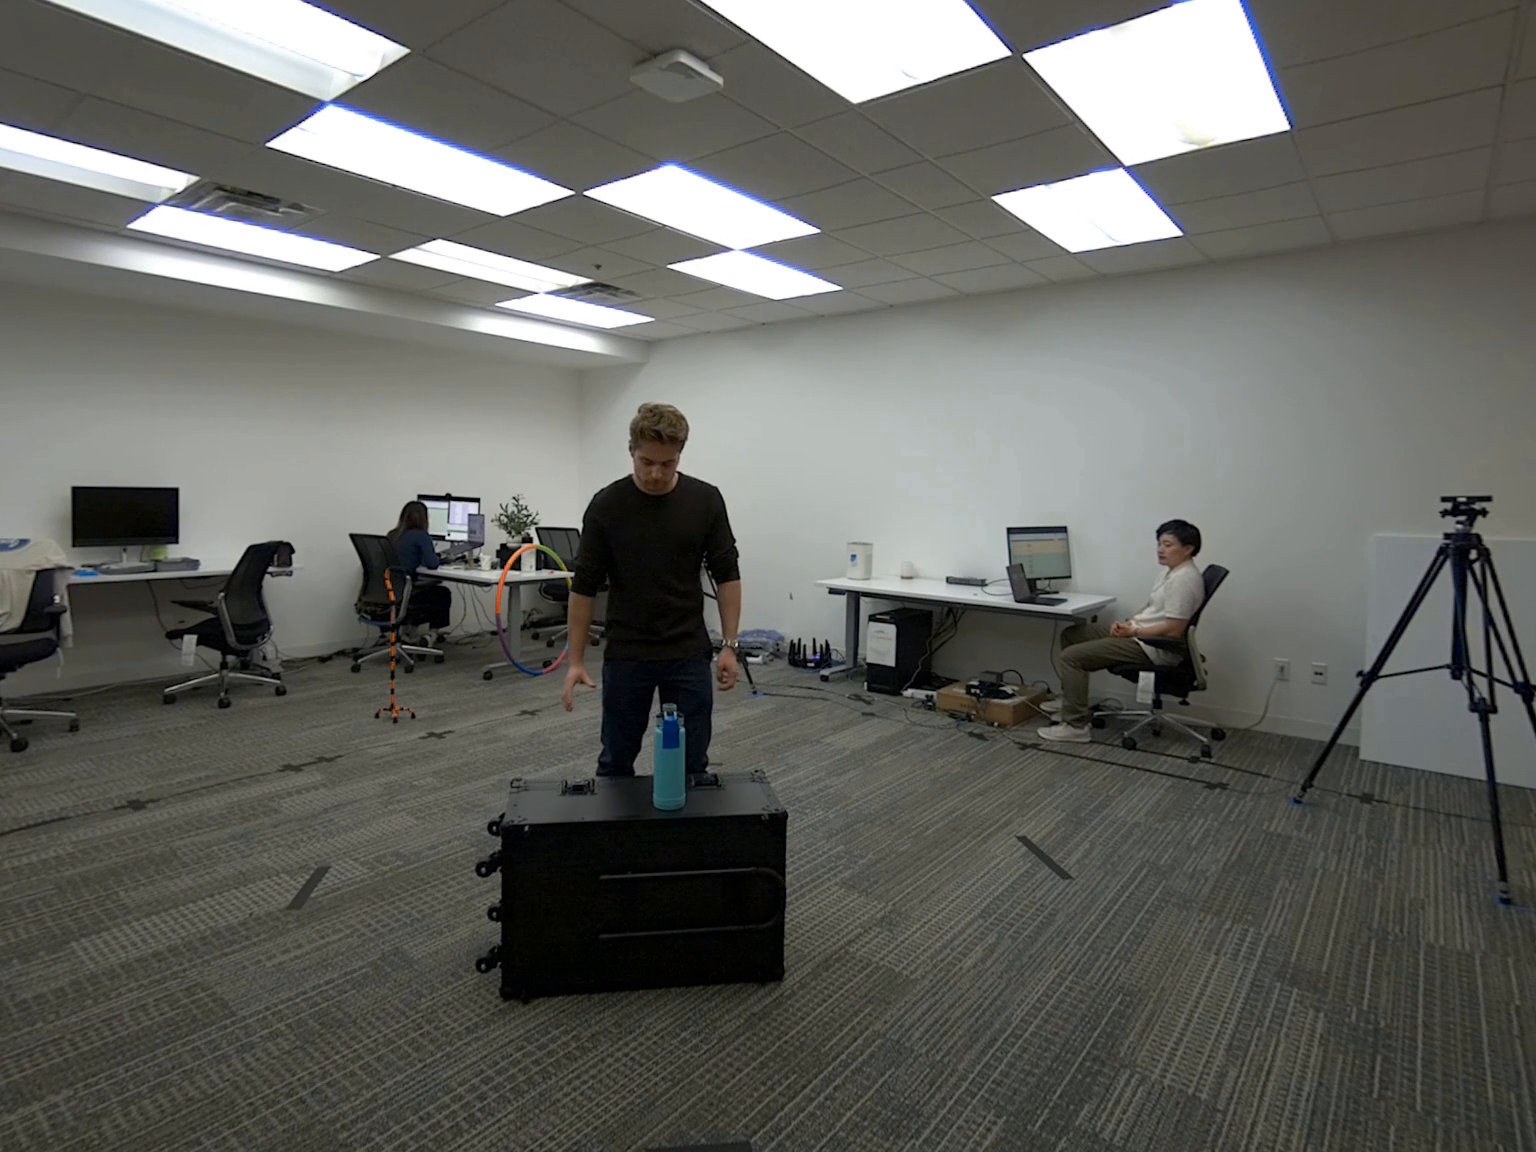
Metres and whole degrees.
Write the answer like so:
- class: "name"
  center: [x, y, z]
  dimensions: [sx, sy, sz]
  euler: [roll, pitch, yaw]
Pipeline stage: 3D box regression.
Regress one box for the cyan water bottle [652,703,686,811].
- class: "cyan water bottle"
  center: [-0.291, 0.509, 2.425]
  dimensions: [0.092, 0.282, 0.093]
  euler: [0, 4, -2]
